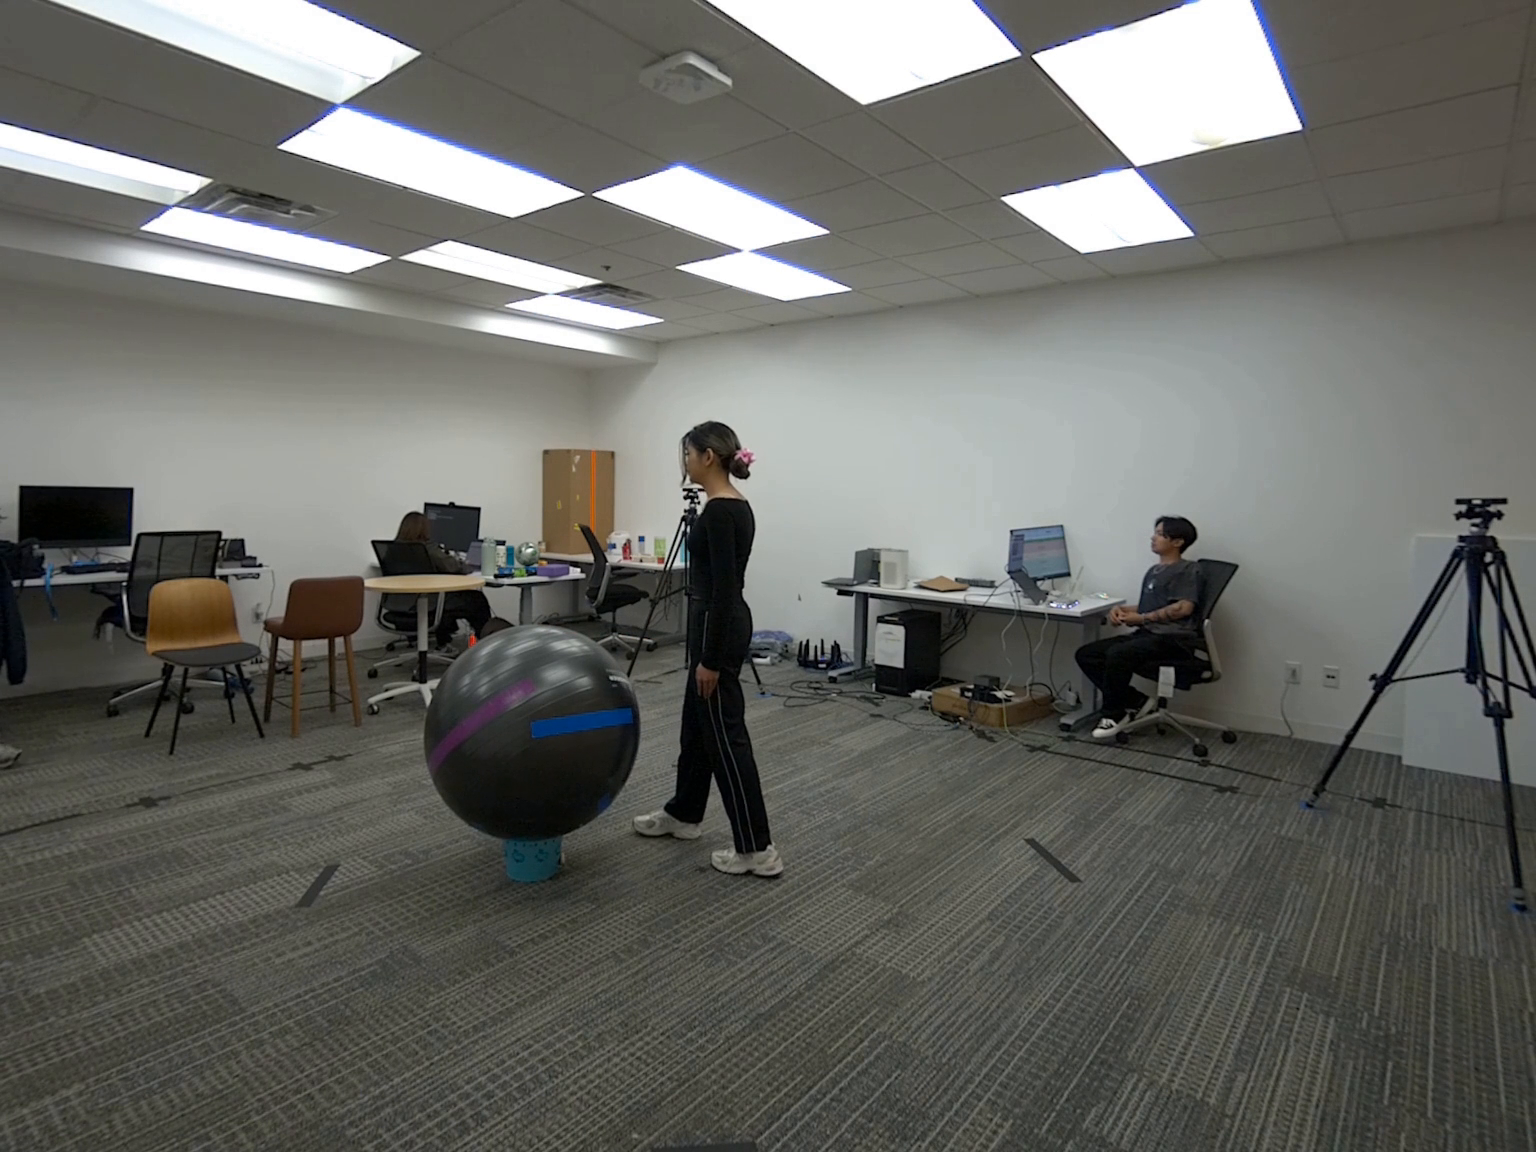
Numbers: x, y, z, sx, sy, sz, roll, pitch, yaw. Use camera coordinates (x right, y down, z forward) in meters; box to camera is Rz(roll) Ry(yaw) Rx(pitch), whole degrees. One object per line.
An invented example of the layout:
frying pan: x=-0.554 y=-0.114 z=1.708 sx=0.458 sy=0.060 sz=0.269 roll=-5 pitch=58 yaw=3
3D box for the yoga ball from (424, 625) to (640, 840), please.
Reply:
yoga ball: x=-0.856 y=0.557 z=3.057 sx=0.757 sy=0.756 sz=0.762 roll=1 pitch=4 yaw=-2
